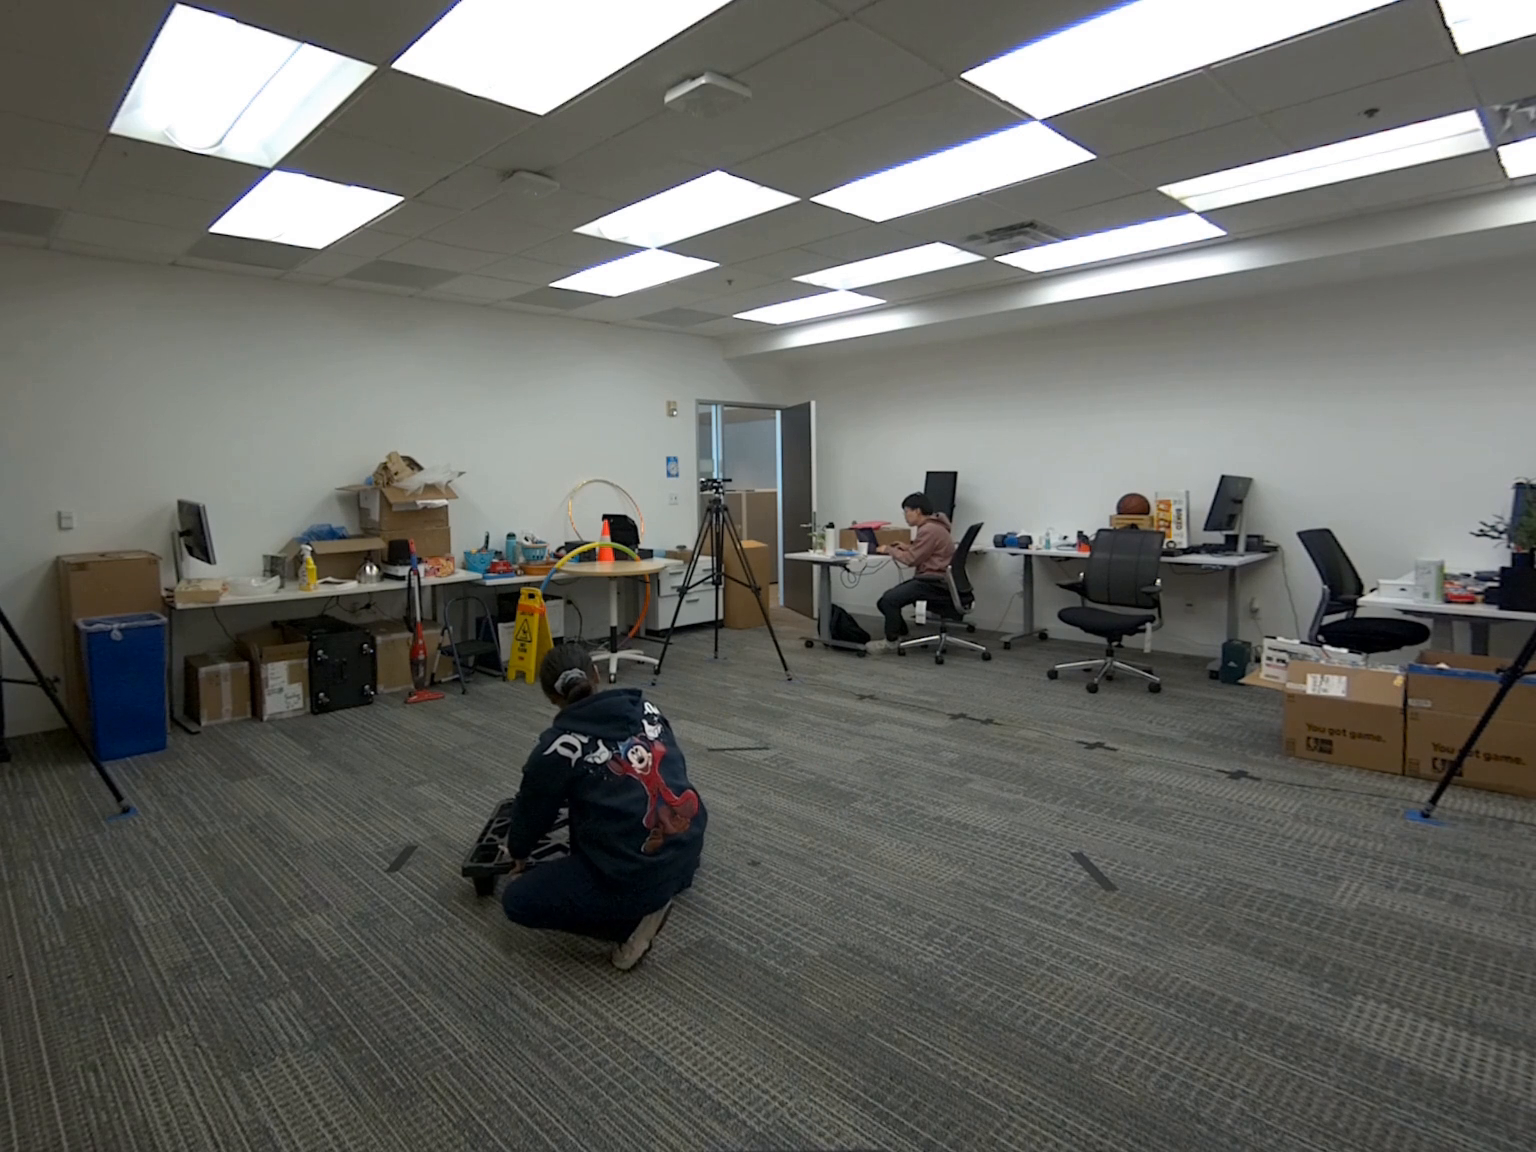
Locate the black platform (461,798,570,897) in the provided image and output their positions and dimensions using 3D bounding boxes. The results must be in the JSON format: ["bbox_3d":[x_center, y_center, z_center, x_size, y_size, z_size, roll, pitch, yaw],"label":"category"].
[{"bbox_3d":[-0.638,0.983,3.139,0.804,0.142,0.610,-2,7,-2],"label":"black platform"}]
